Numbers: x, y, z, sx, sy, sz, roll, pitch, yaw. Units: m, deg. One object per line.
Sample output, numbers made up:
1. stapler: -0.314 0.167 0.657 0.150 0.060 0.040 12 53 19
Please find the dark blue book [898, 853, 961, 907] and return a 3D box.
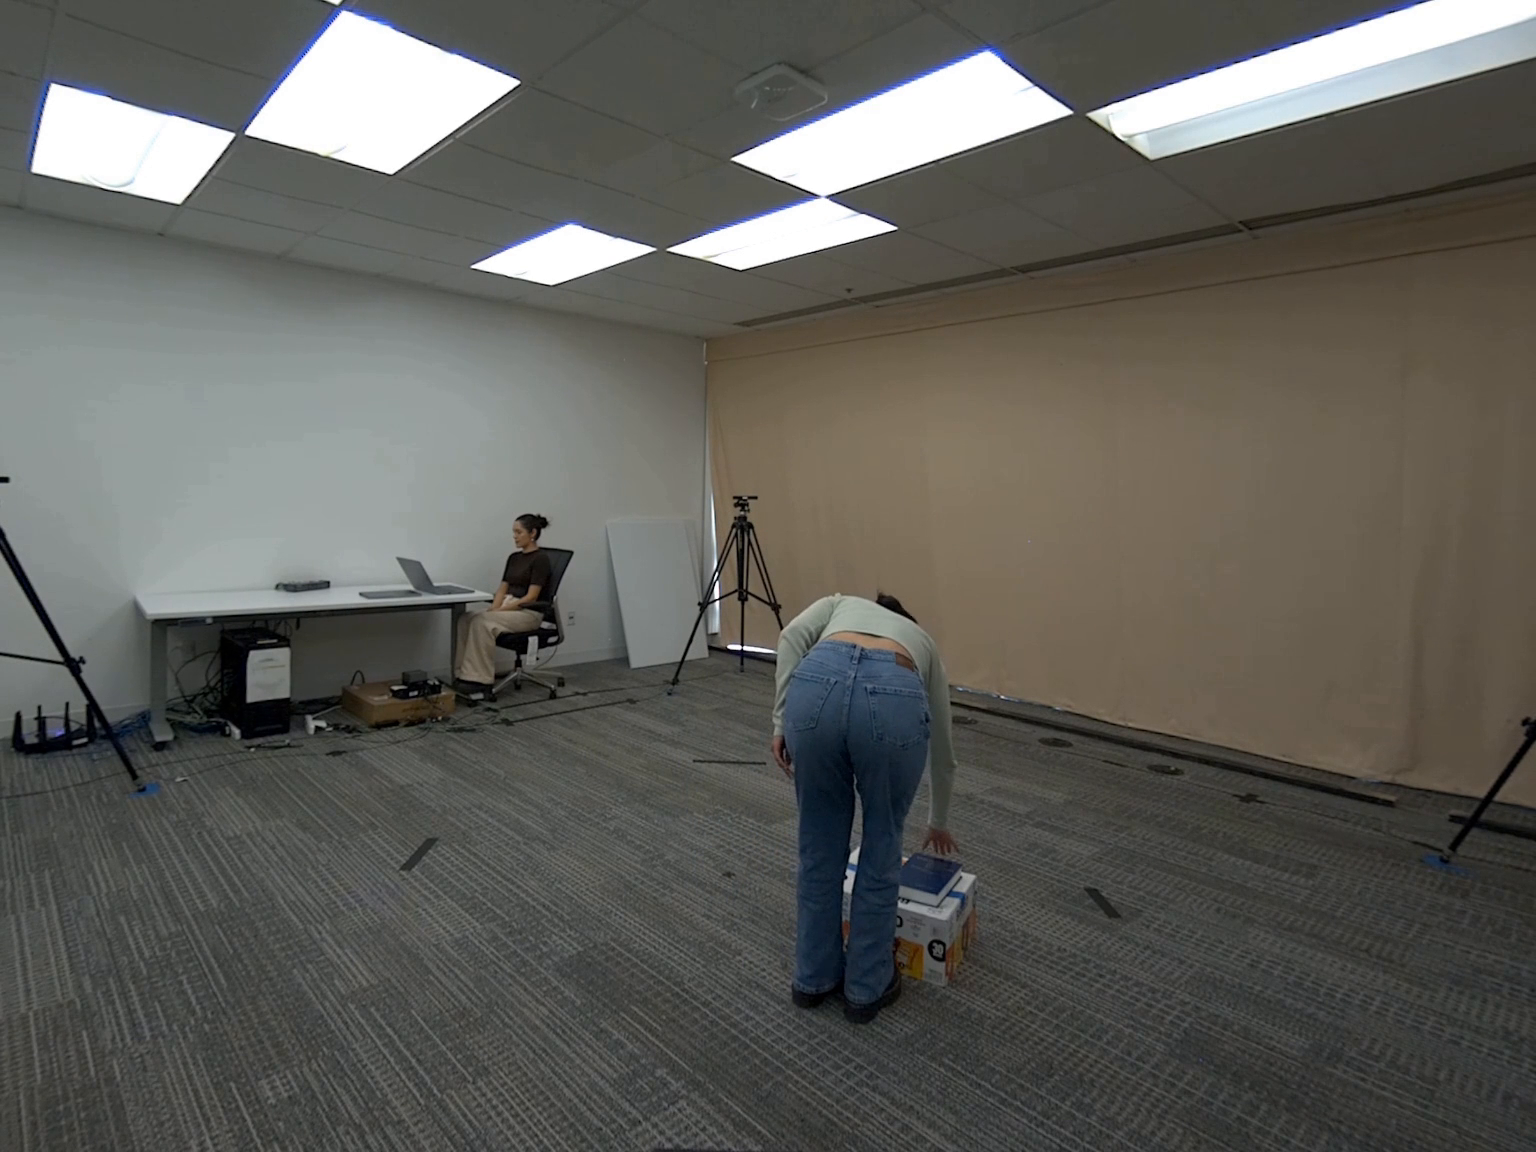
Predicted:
1. dark blue book: 0.488 0.945 2.625 0.167 0.045 0.240 5 6 30
